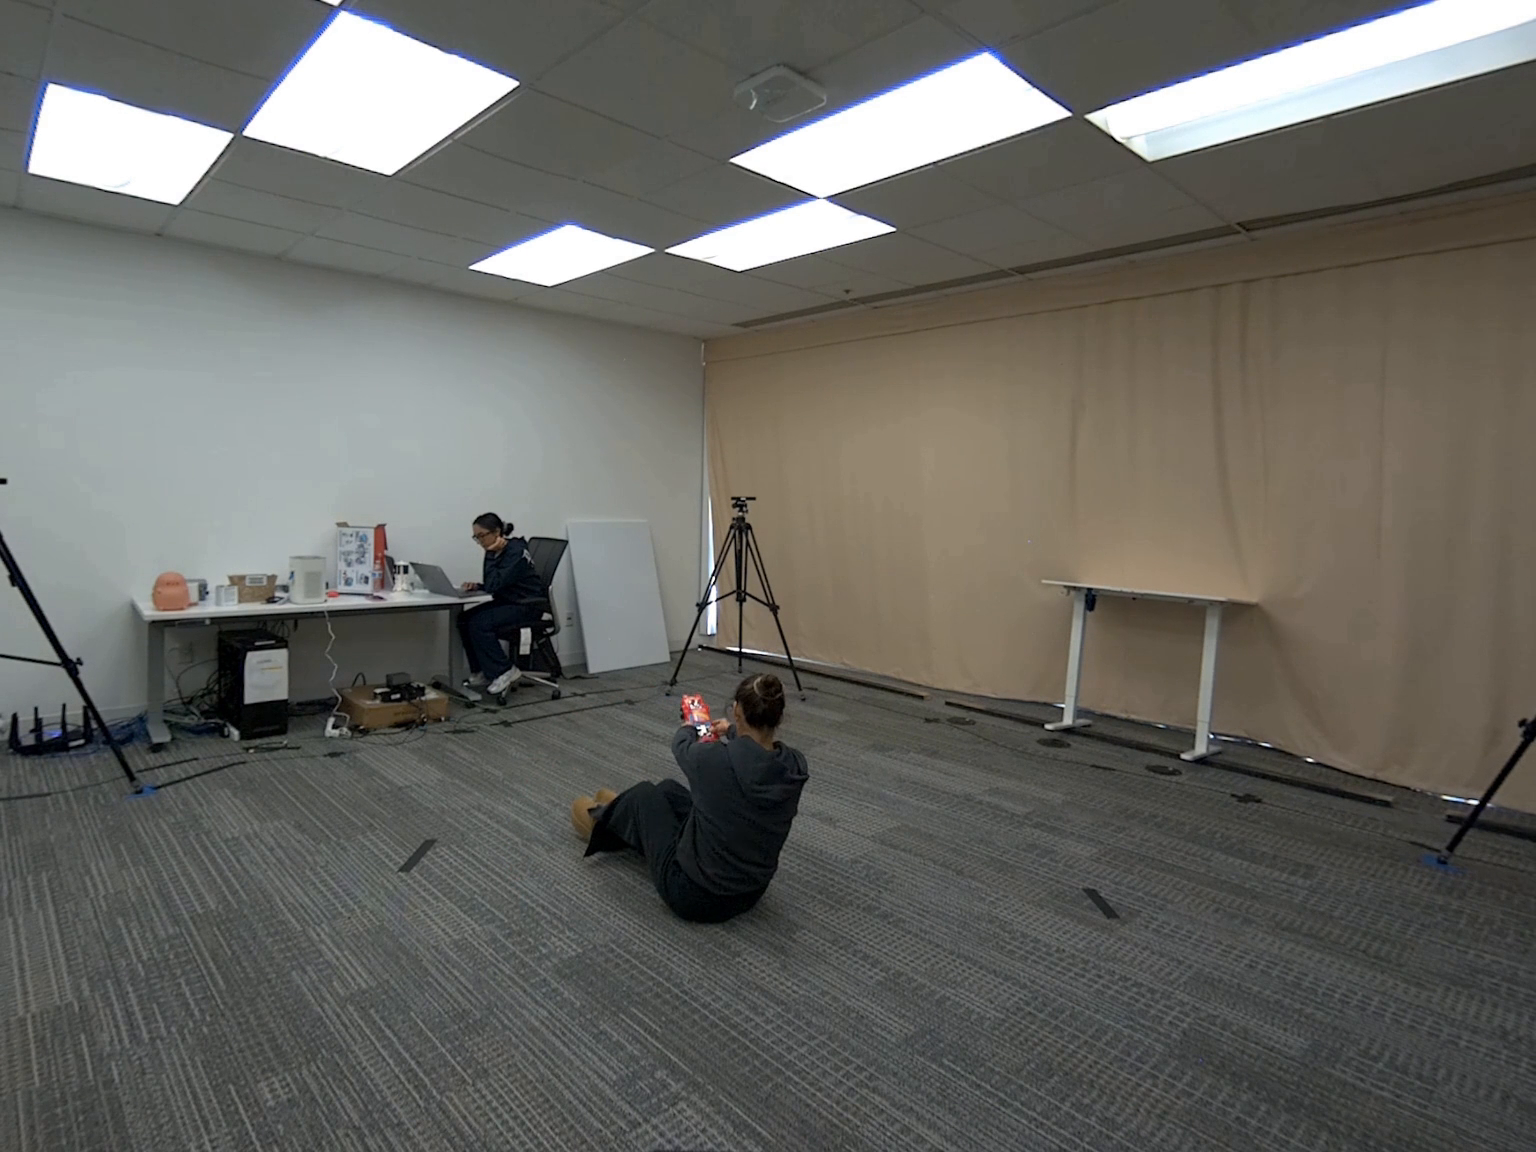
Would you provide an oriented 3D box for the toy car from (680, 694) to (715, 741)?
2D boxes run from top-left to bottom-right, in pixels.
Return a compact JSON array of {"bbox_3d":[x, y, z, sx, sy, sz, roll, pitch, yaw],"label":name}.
[{"bbox_3d":[-0.293,0.583,3.414,0.128,0.082,0.262,0,47,-21],"label":"toy car"}]
